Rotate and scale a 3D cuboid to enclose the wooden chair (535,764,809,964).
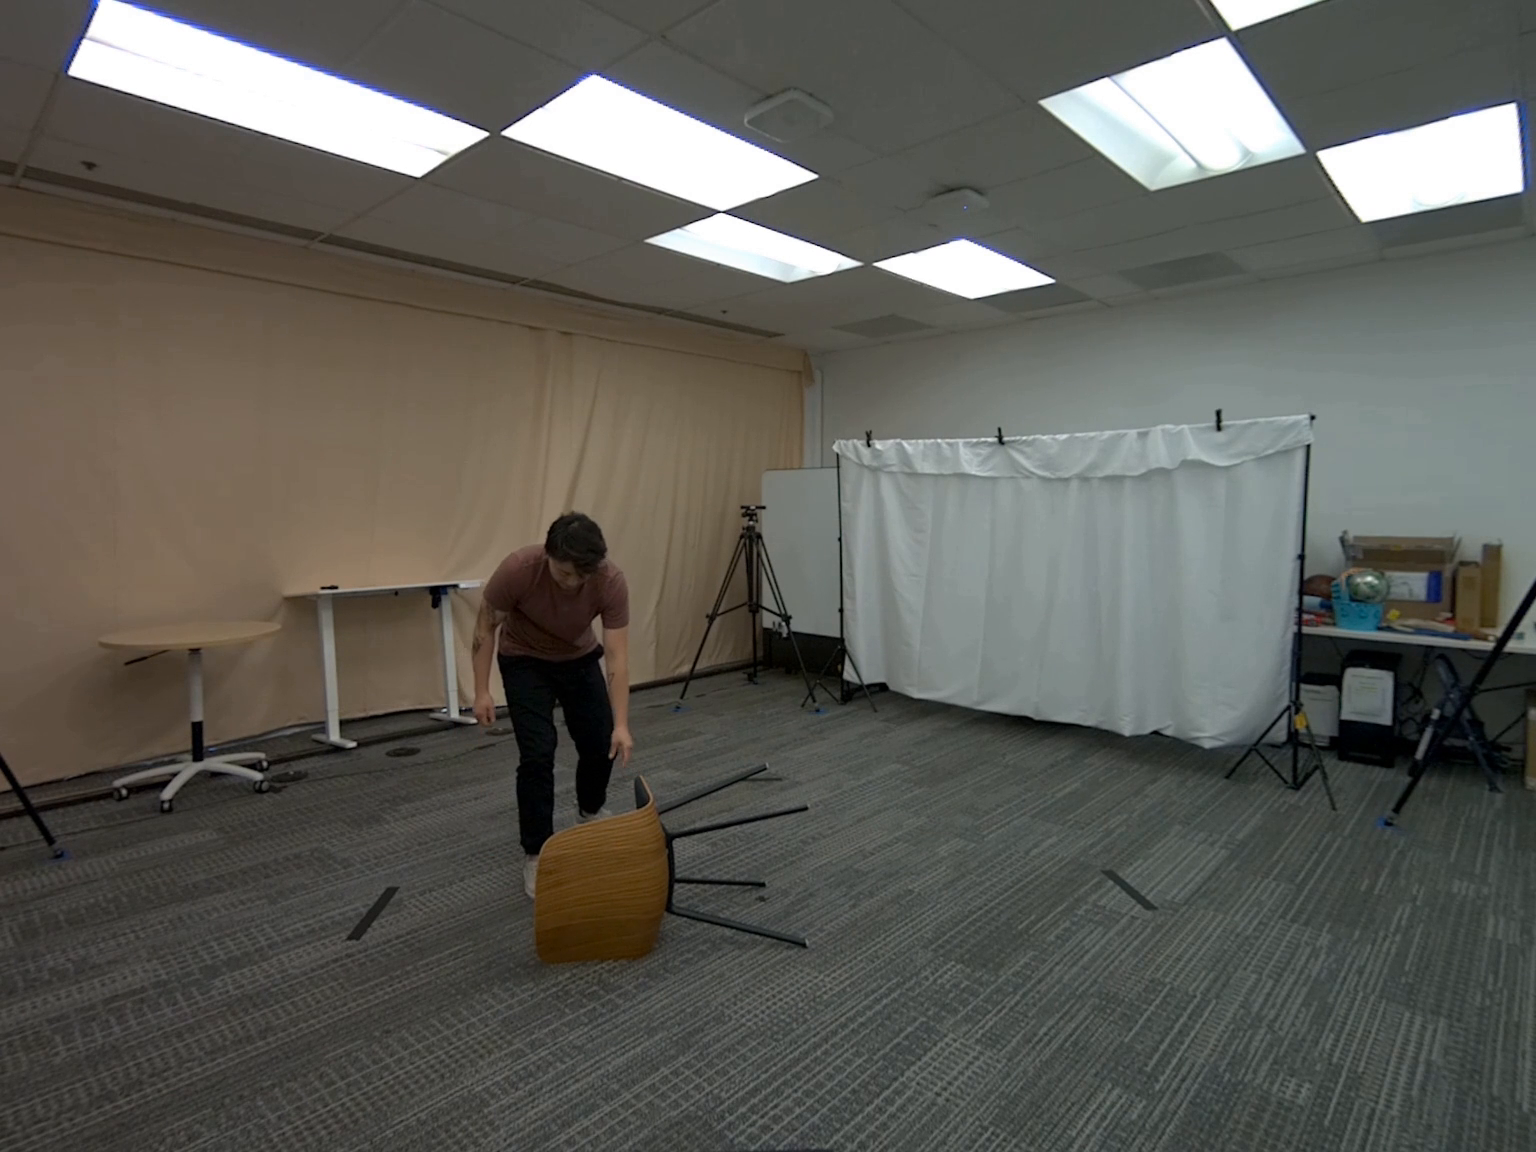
[{"bbox_3d":[-0.349,0.934,2.769,0.860,0.477,0.534,-2,4,-20],"label":"wooden chair"}]
